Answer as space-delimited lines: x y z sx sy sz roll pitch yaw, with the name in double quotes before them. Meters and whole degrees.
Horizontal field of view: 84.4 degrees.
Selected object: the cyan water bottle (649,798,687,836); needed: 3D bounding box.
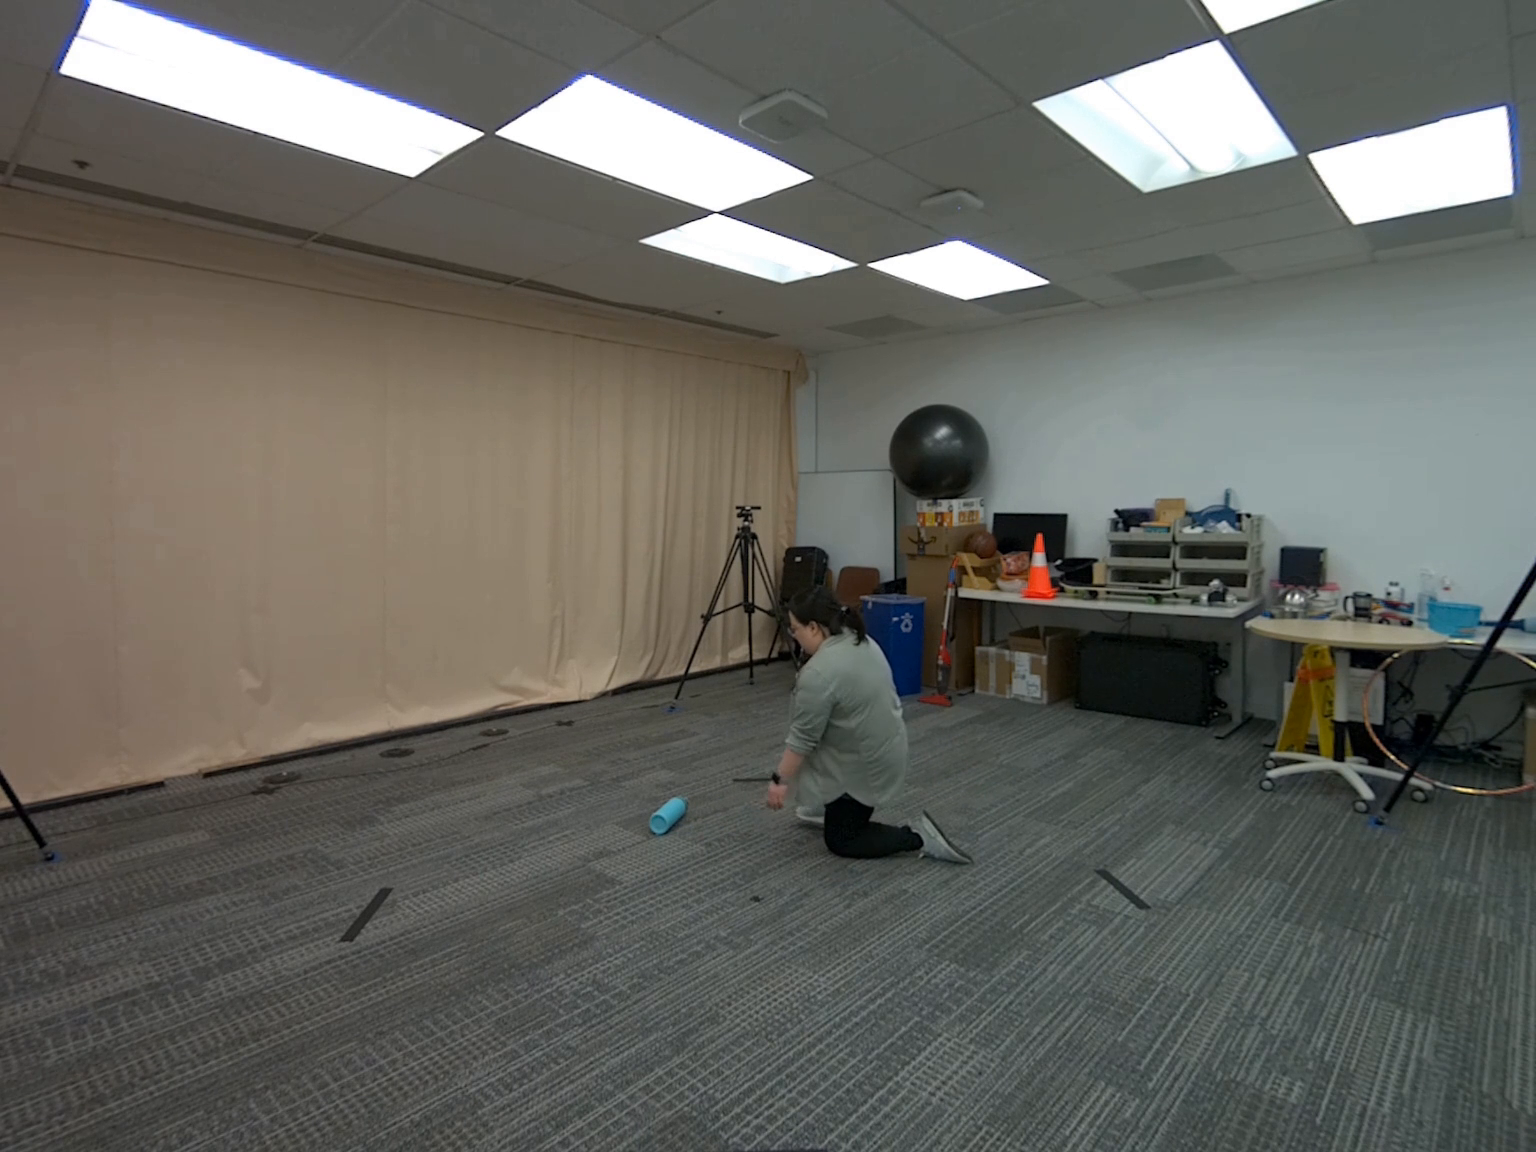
"cyan water bottle" -0.430 1.045 3.711 0.094 0.092 0.279 1 5 14
